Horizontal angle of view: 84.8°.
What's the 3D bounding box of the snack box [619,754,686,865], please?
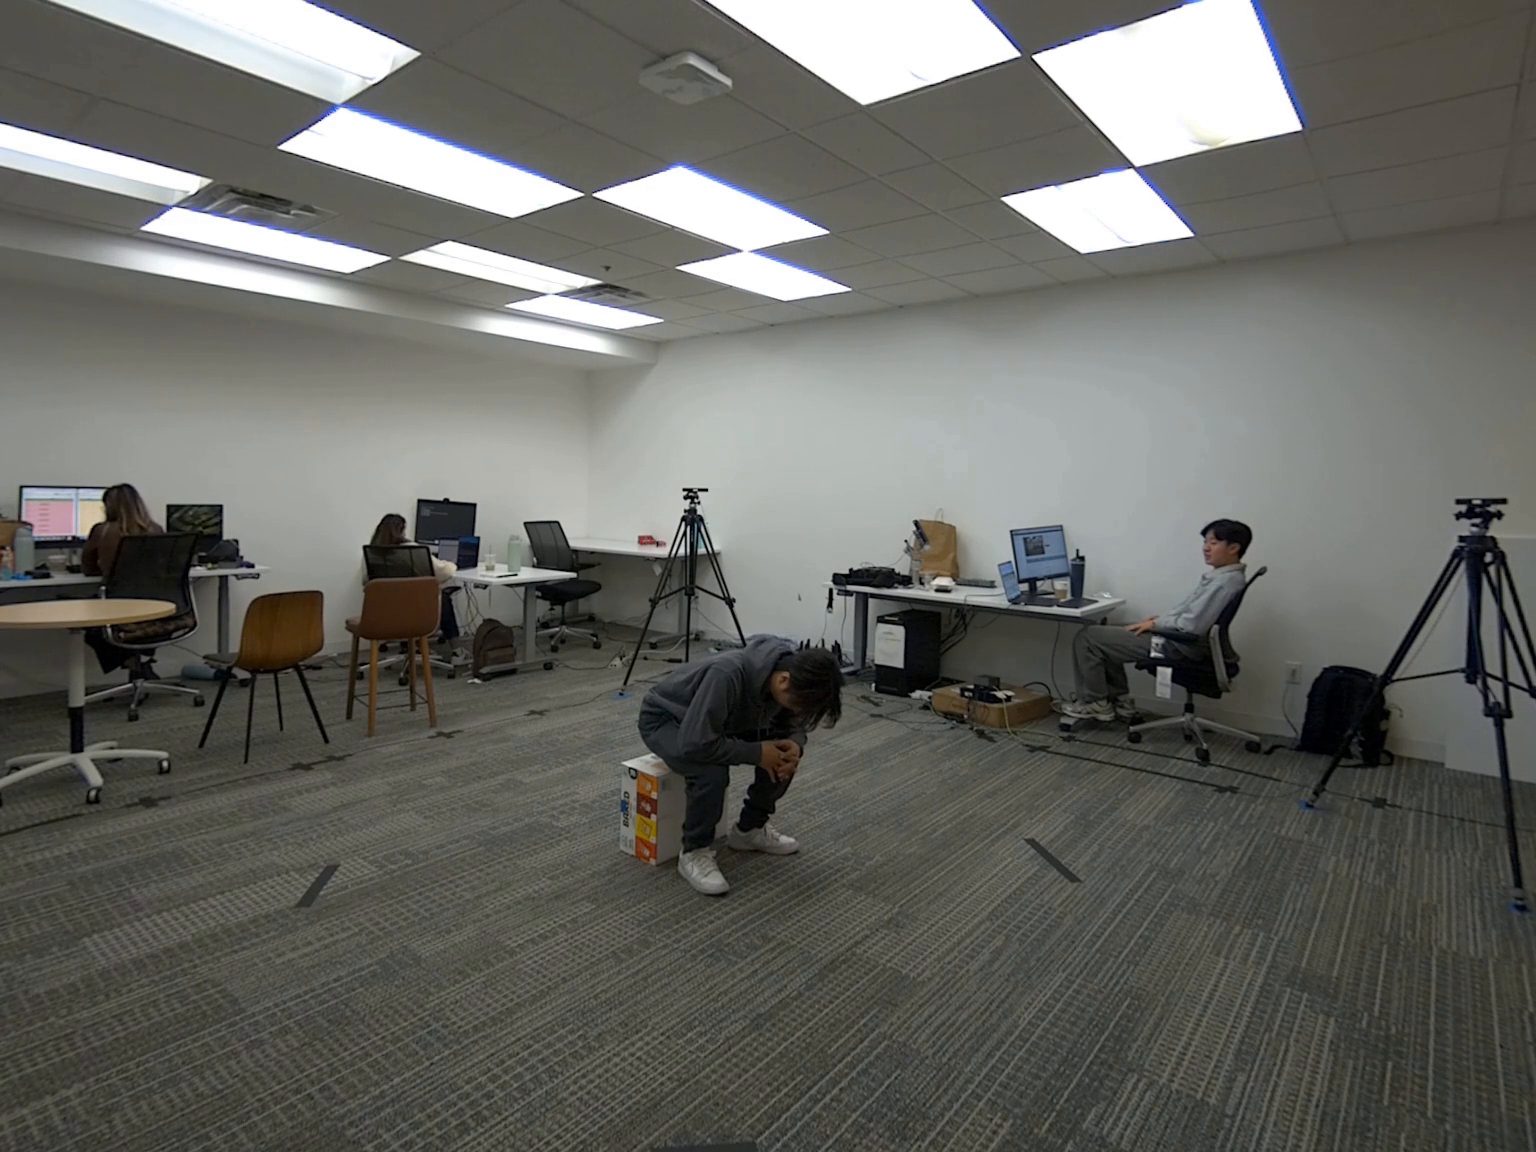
[{"bbox_3d":[-0.373,0.875,3.334,0.213,0.339,0.393,6,6,39],"label":"snack box"}]
